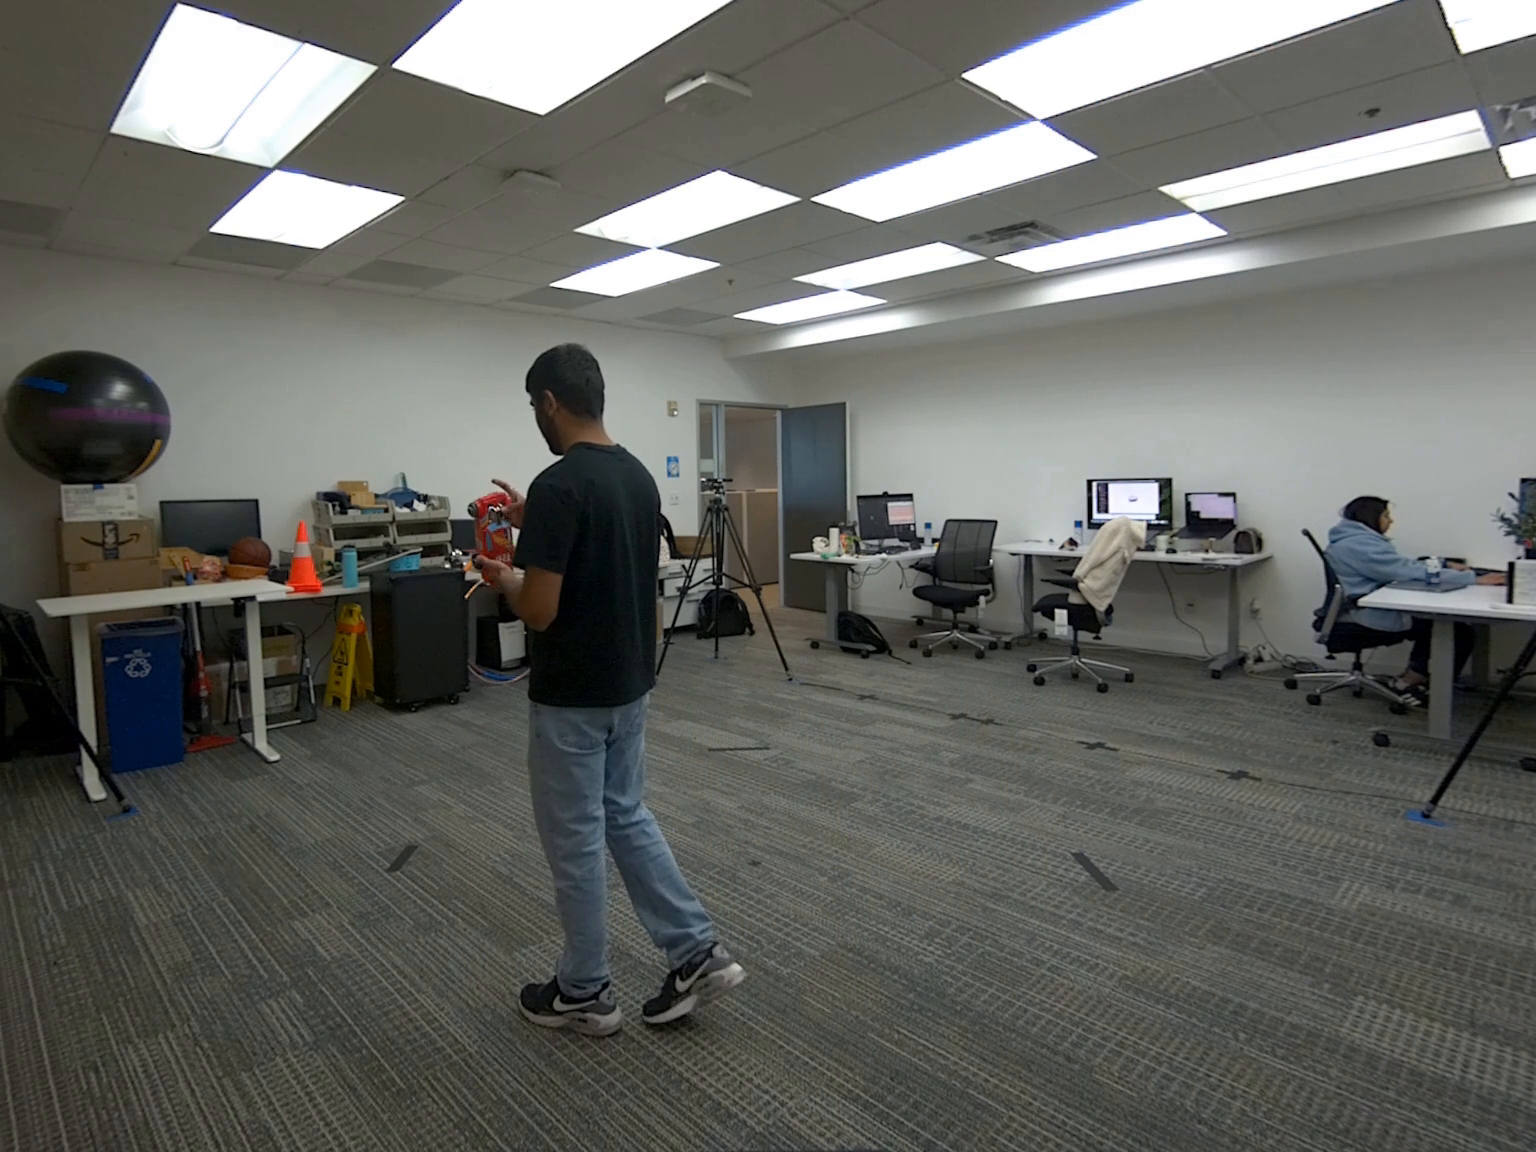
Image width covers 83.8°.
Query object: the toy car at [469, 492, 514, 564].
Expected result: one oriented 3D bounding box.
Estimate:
[{"bbox_3d":[-0.737,-0.097,2.313,0.086,0.251,0.128,5,17,36],"label":"toy car"}]
